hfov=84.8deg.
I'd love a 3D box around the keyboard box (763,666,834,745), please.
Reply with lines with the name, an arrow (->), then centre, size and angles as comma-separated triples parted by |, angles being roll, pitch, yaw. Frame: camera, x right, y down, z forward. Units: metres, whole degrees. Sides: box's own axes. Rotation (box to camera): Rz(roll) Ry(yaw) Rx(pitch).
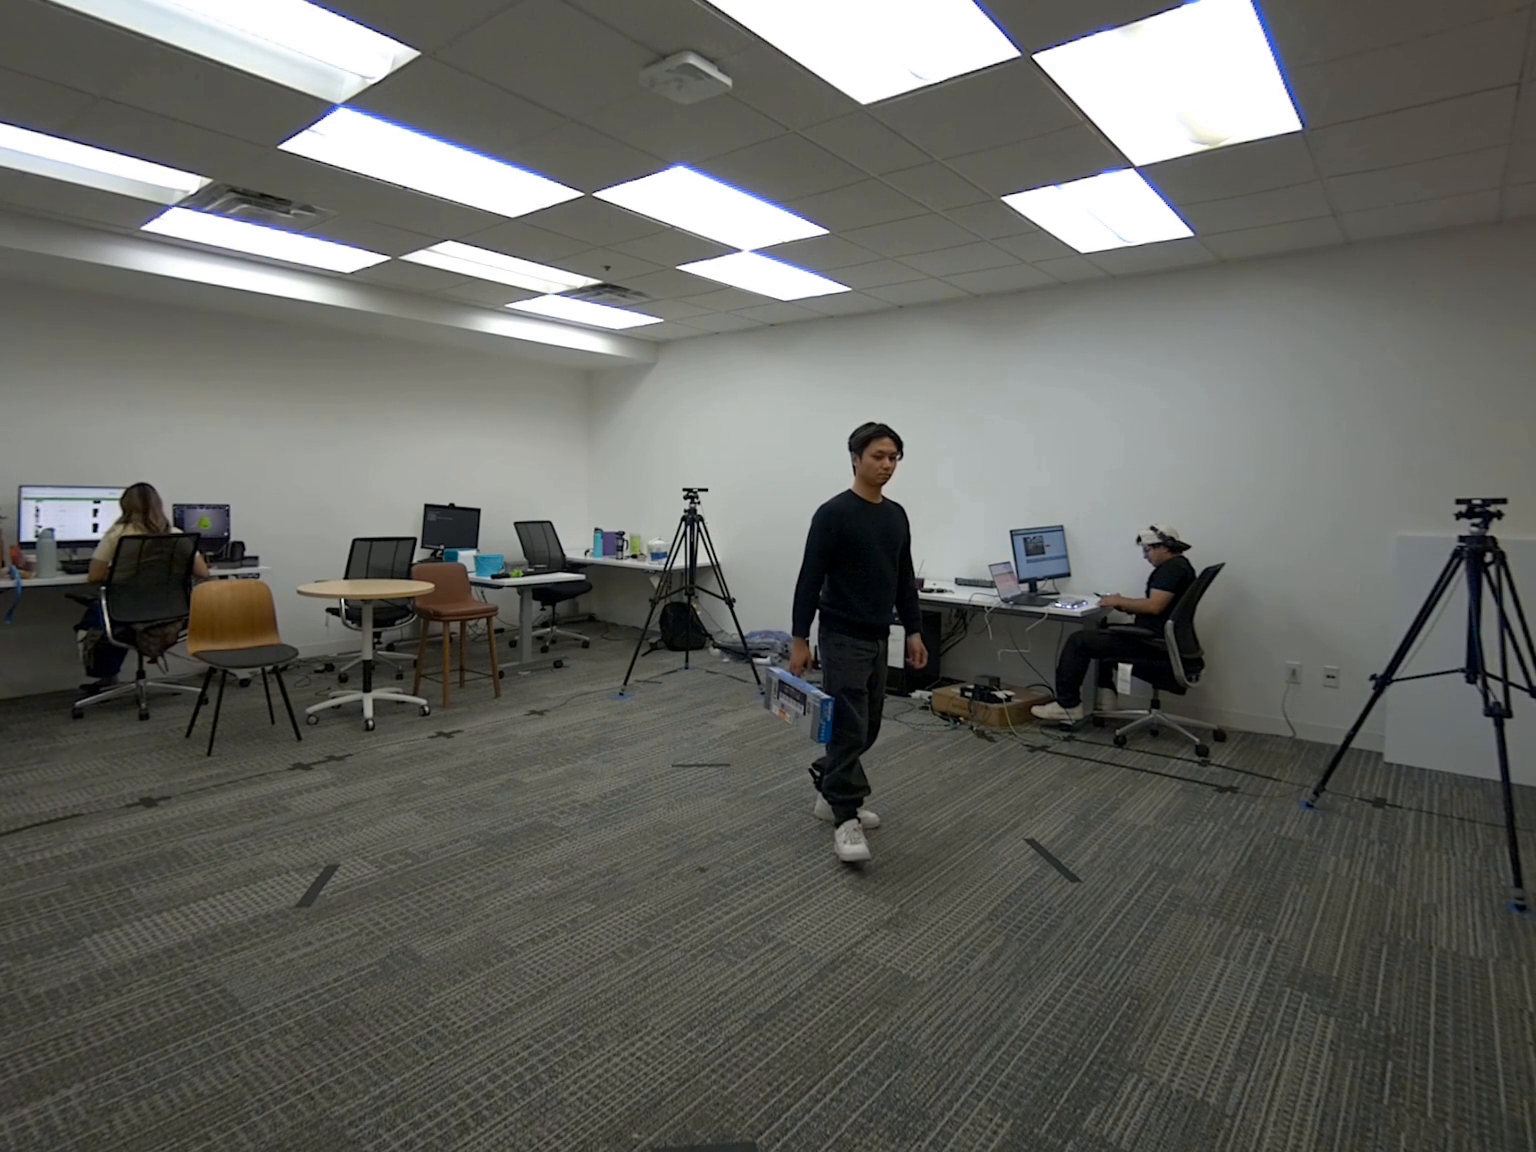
keyboard box -> 0.109, 0.501, 3.376 | 0.057, 0.175, 0.451 | 0, 9, -28
